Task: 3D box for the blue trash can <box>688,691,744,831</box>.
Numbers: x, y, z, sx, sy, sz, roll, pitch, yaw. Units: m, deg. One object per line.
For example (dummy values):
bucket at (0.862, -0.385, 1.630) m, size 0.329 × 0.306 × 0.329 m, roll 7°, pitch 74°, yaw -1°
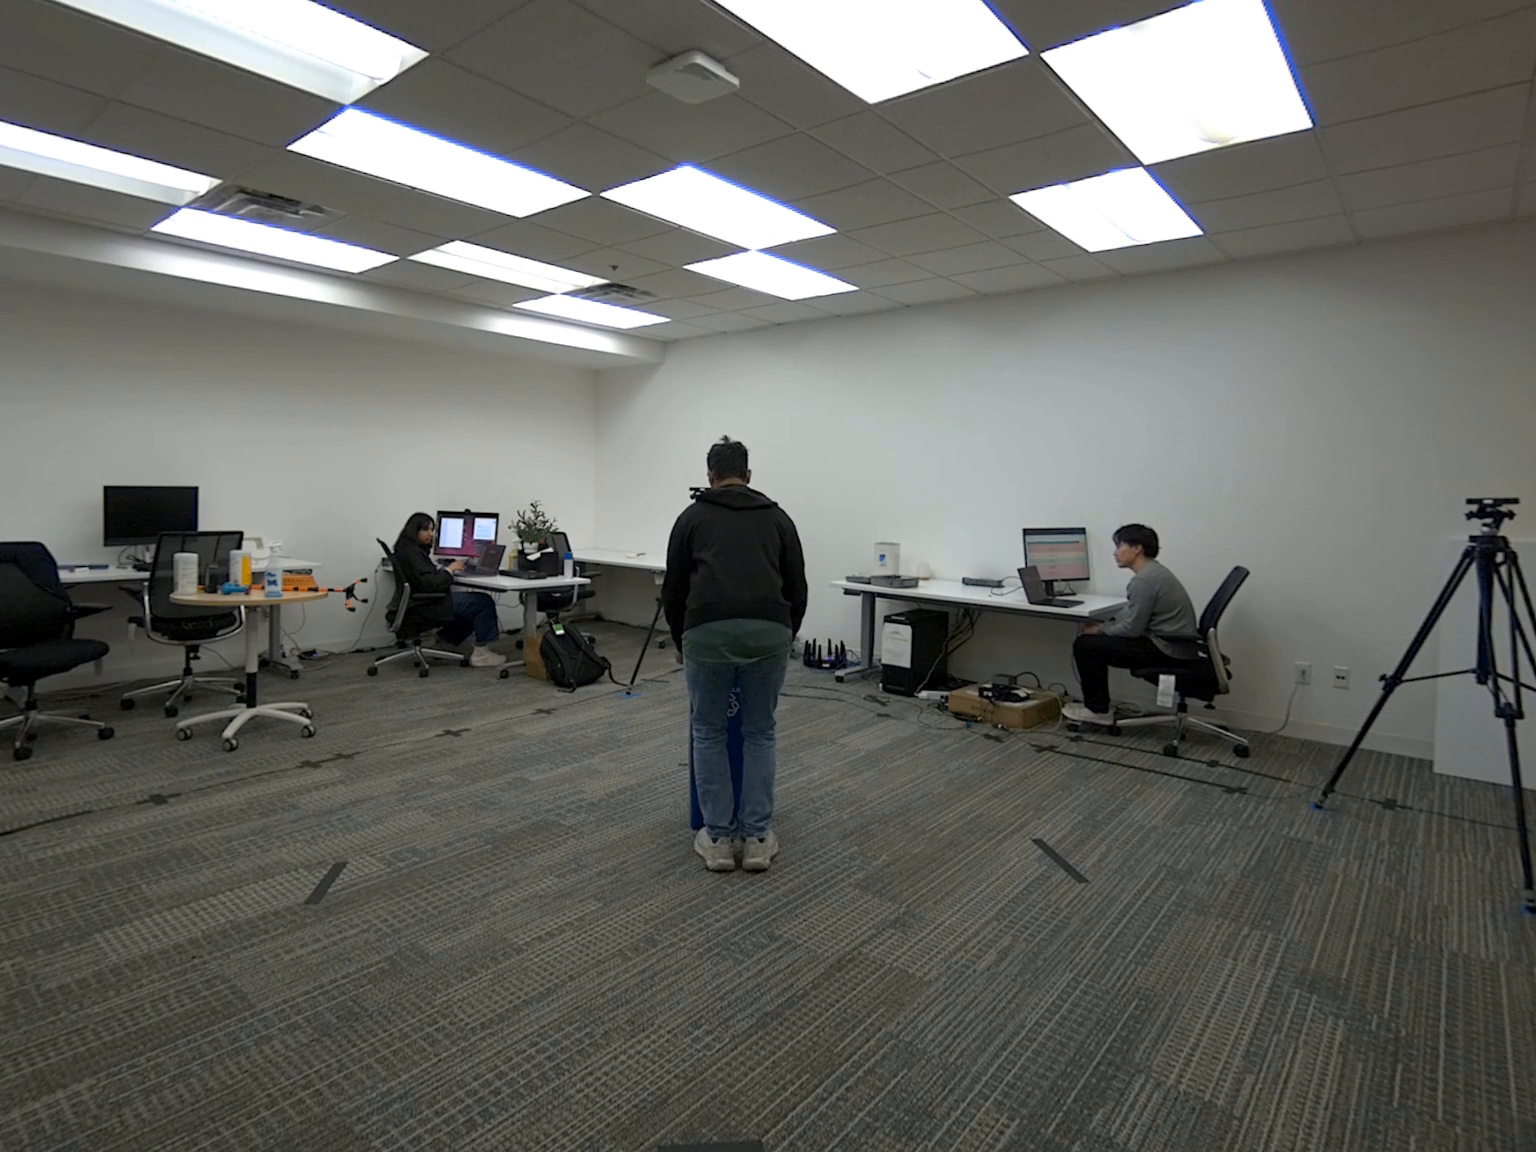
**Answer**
blue trash can at (-0.172, 0.655, 3.592) m, size 0.373 × 0.711 × 0.381 m, roll 1°, pitch 4°, yaw -5°
